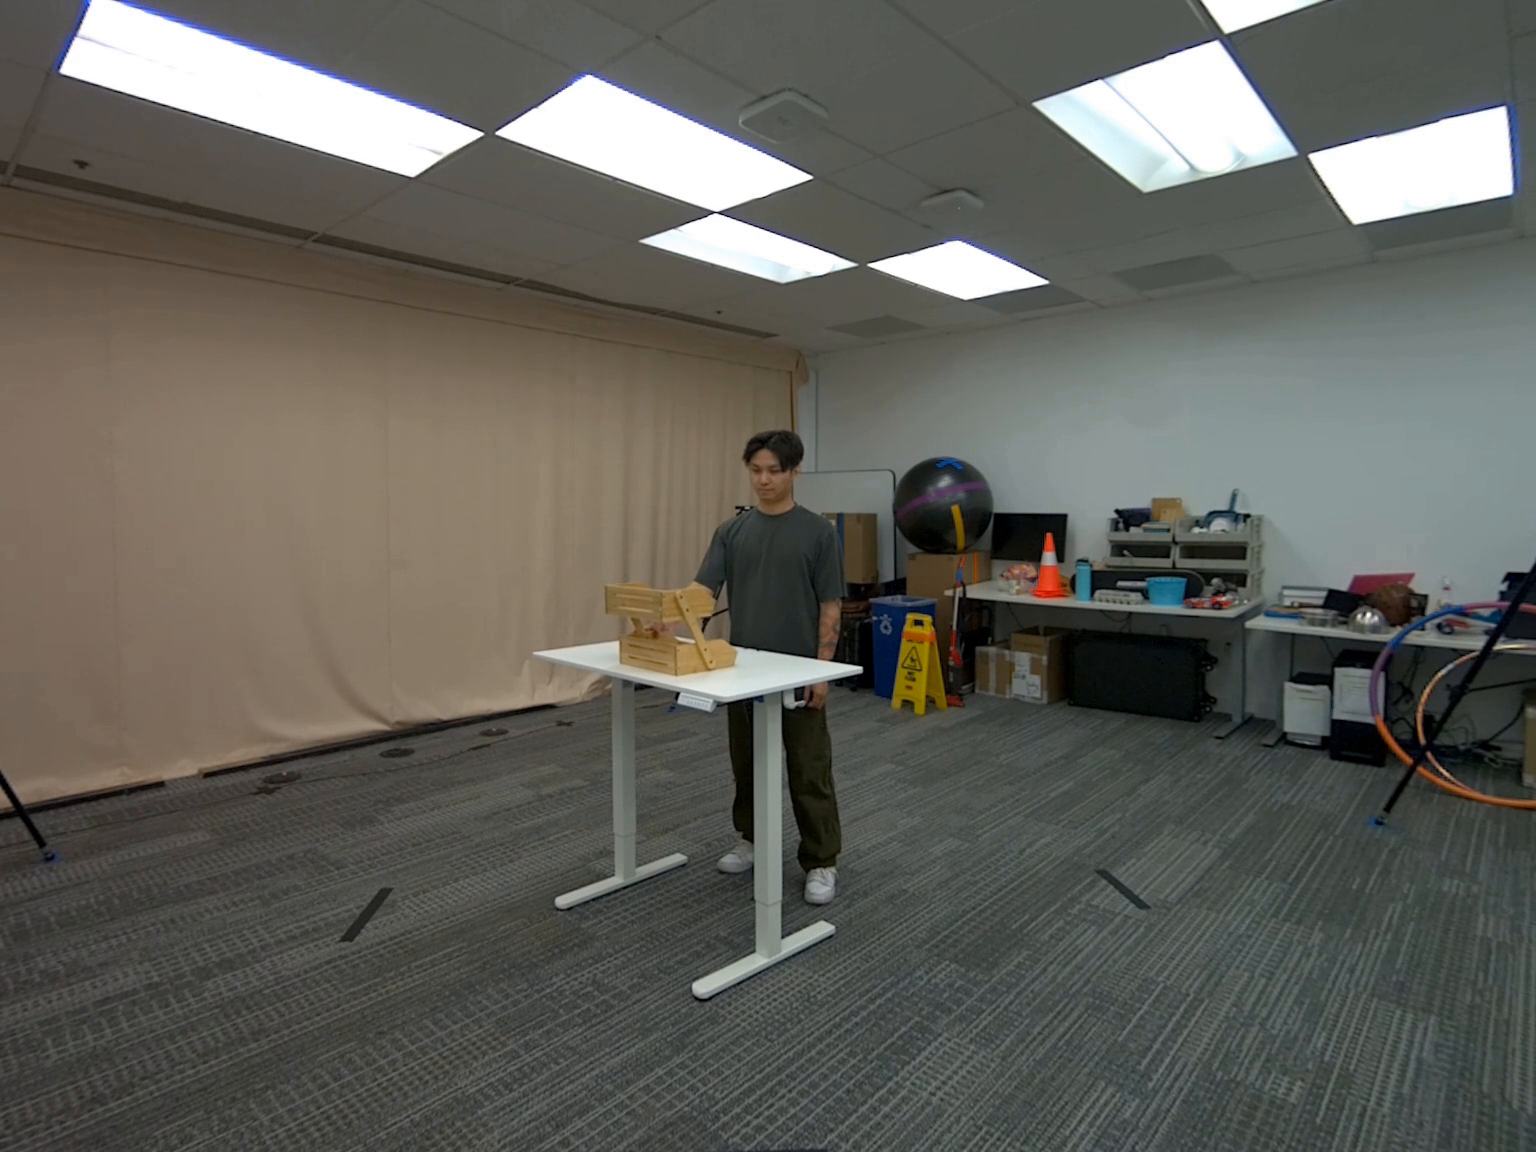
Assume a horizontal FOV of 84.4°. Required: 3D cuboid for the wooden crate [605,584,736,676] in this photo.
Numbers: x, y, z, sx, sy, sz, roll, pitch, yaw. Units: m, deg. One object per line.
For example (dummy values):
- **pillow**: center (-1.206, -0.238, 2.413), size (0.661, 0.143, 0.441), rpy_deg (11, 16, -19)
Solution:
- **wooden crate**: center (-0.309, 0.154, 2.692), size (0.293, 0.273, 0.335), rpy_deg (-4, 5, -43)
